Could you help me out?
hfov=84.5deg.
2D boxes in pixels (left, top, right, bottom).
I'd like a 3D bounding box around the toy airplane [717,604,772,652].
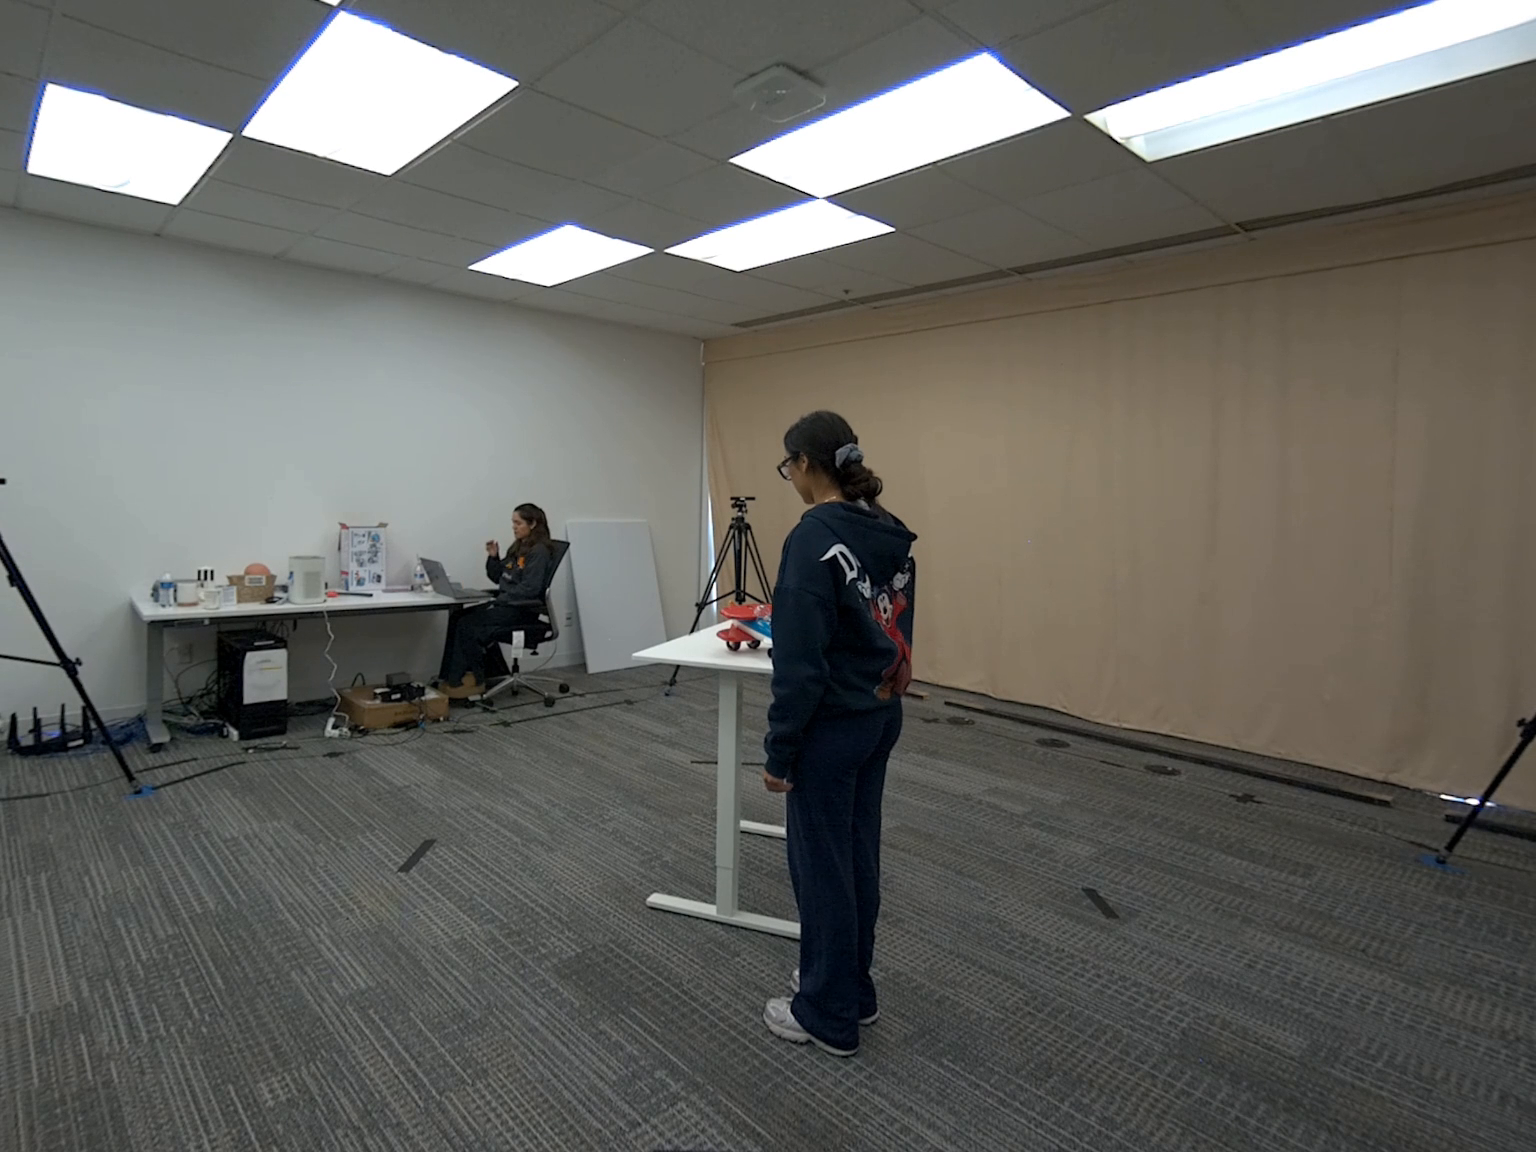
[{"bbox_3d":[-0.024,0.181,2.812,0.264,0.156,0.247,3,4,23],"label":"toy airplane"}]
